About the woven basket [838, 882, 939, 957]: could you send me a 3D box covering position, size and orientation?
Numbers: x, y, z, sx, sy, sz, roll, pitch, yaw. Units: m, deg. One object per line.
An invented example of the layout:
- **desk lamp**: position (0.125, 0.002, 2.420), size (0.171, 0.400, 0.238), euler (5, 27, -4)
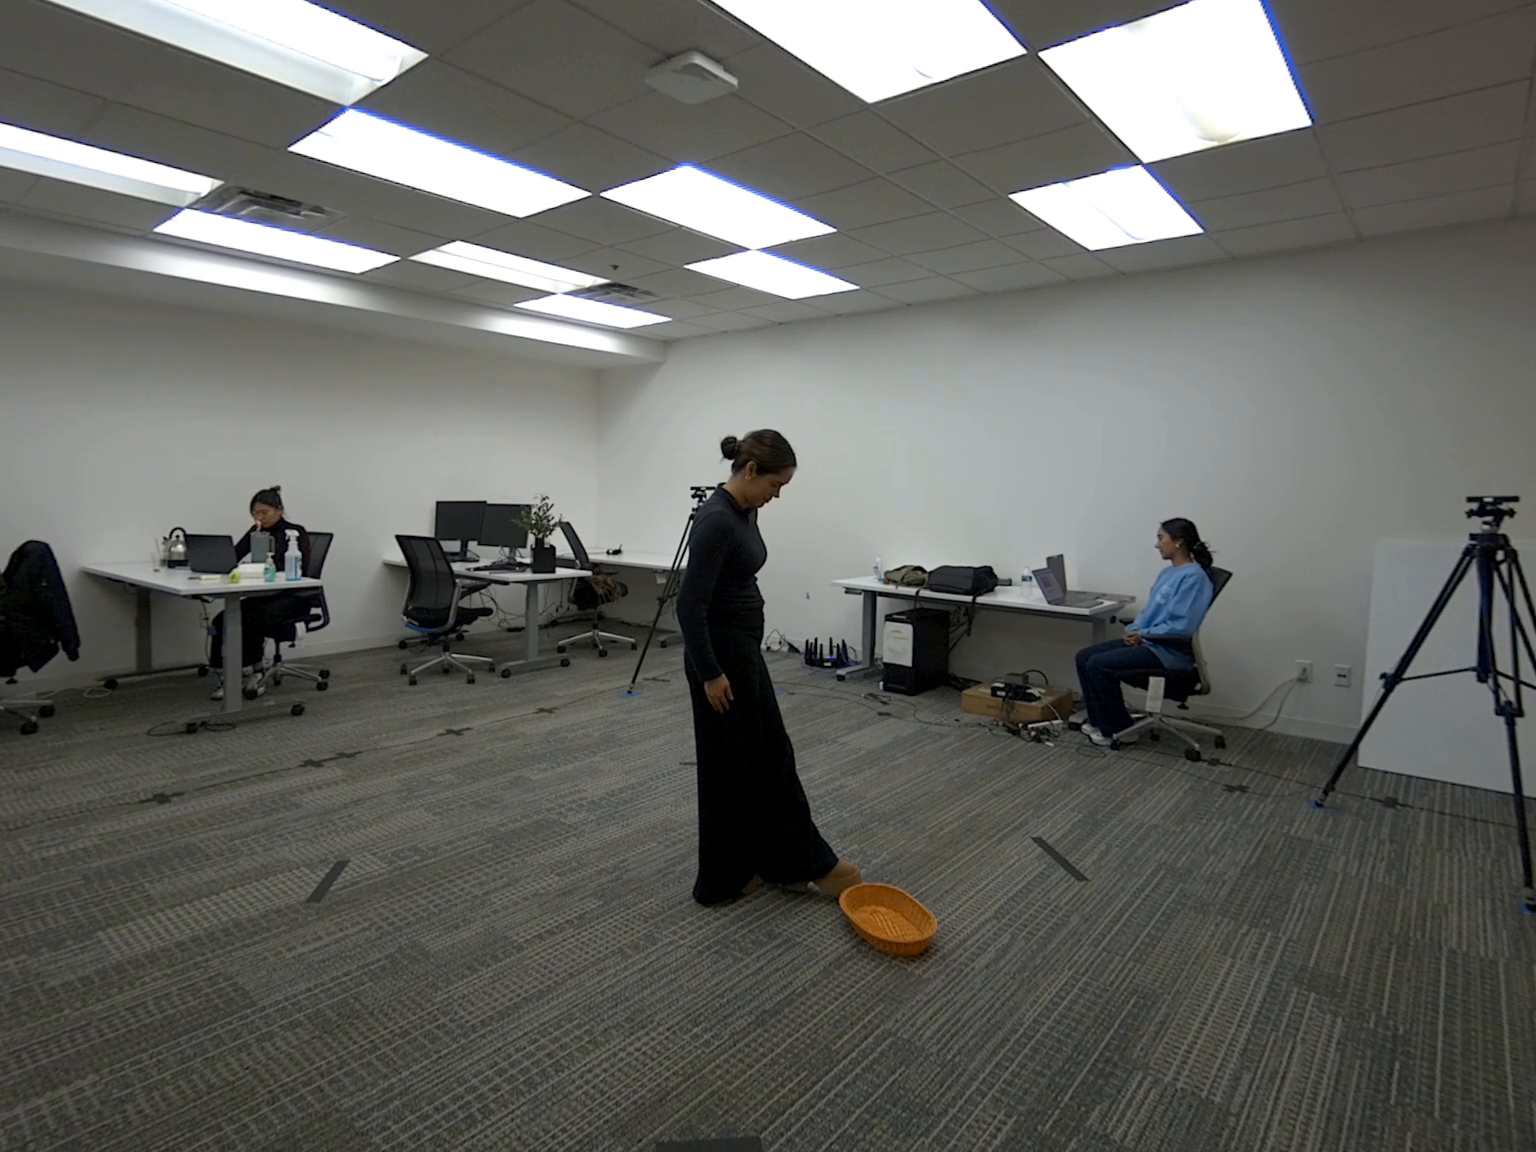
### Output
- **woven basket**: position (0.369, 1.080, 2.674), size (0.247, 0.073, 0.360), euler (-4, 9, -22)
